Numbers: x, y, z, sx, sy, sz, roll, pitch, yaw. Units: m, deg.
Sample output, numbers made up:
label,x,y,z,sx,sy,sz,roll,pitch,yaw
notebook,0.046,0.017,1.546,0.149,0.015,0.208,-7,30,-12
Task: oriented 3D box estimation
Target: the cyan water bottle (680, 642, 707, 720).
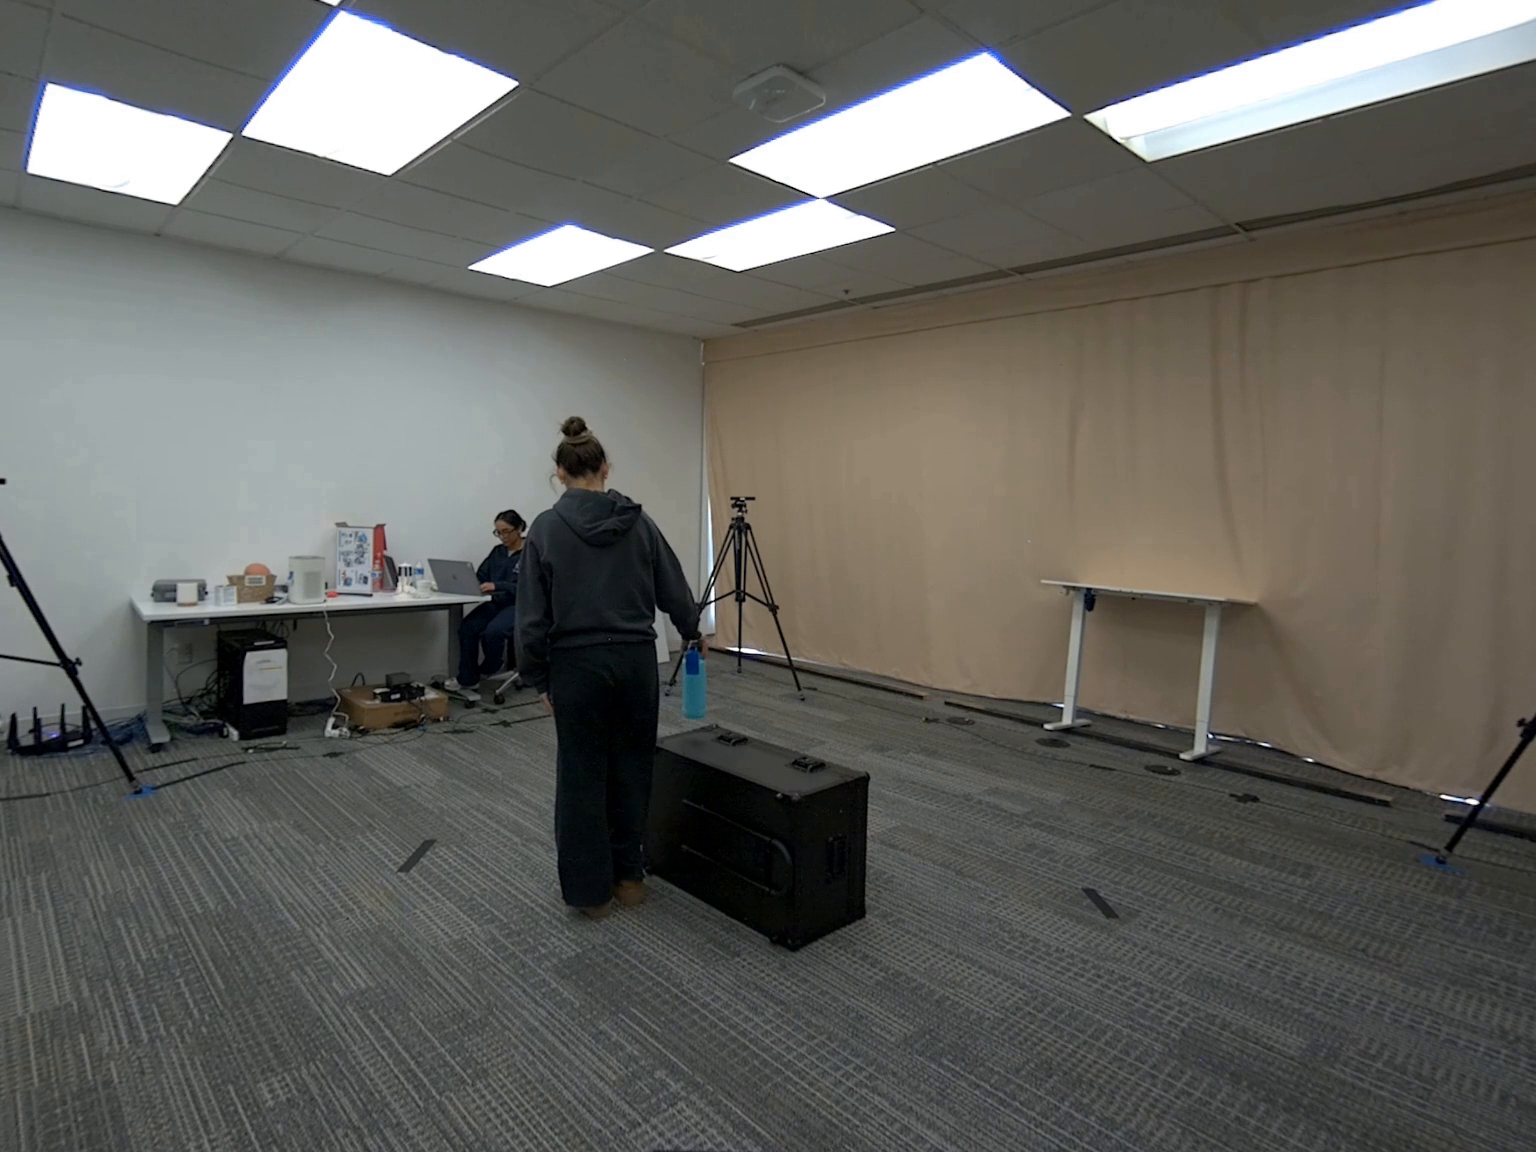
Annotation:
label,x,y,z,sx,sy,sz,roll,pitch,yaw
cyan water bottle,-0.290,0.392,3.168,0.092,0.281,0.093,0,11,-1
